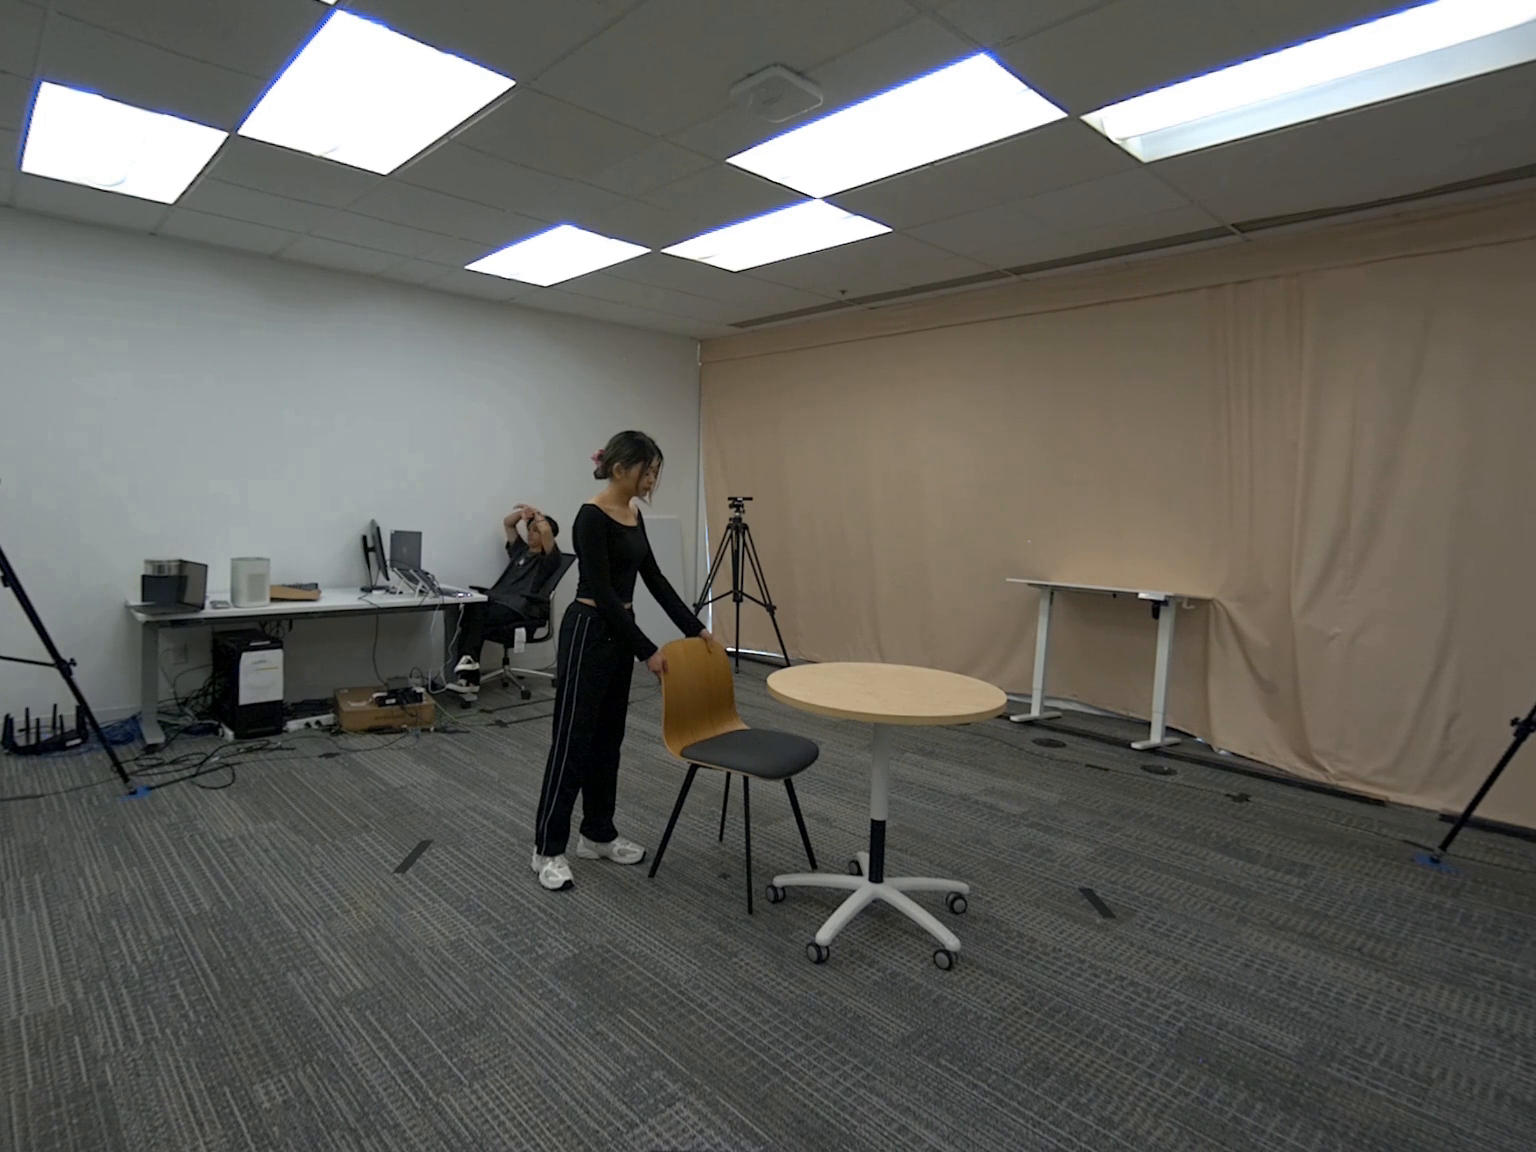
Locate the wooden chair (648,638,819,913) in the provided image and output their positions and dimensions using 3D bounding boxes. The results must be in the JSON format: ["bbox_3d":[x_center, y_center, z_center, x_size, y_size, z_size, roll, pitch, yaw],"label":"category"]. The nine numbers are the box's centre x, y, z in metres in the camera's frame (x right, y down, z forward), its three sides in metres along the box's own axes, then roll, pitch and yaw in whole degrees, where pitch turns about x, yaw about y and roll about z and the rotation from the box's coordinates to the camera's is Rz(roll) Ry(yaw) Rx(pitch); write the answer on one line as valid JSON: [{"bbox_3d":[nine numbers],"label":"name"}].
[{"bbox_3d":[-0.116,0.680,3.093,0.534,0.877,0.468,-2,1,35],"label":"wooden chair"}]
